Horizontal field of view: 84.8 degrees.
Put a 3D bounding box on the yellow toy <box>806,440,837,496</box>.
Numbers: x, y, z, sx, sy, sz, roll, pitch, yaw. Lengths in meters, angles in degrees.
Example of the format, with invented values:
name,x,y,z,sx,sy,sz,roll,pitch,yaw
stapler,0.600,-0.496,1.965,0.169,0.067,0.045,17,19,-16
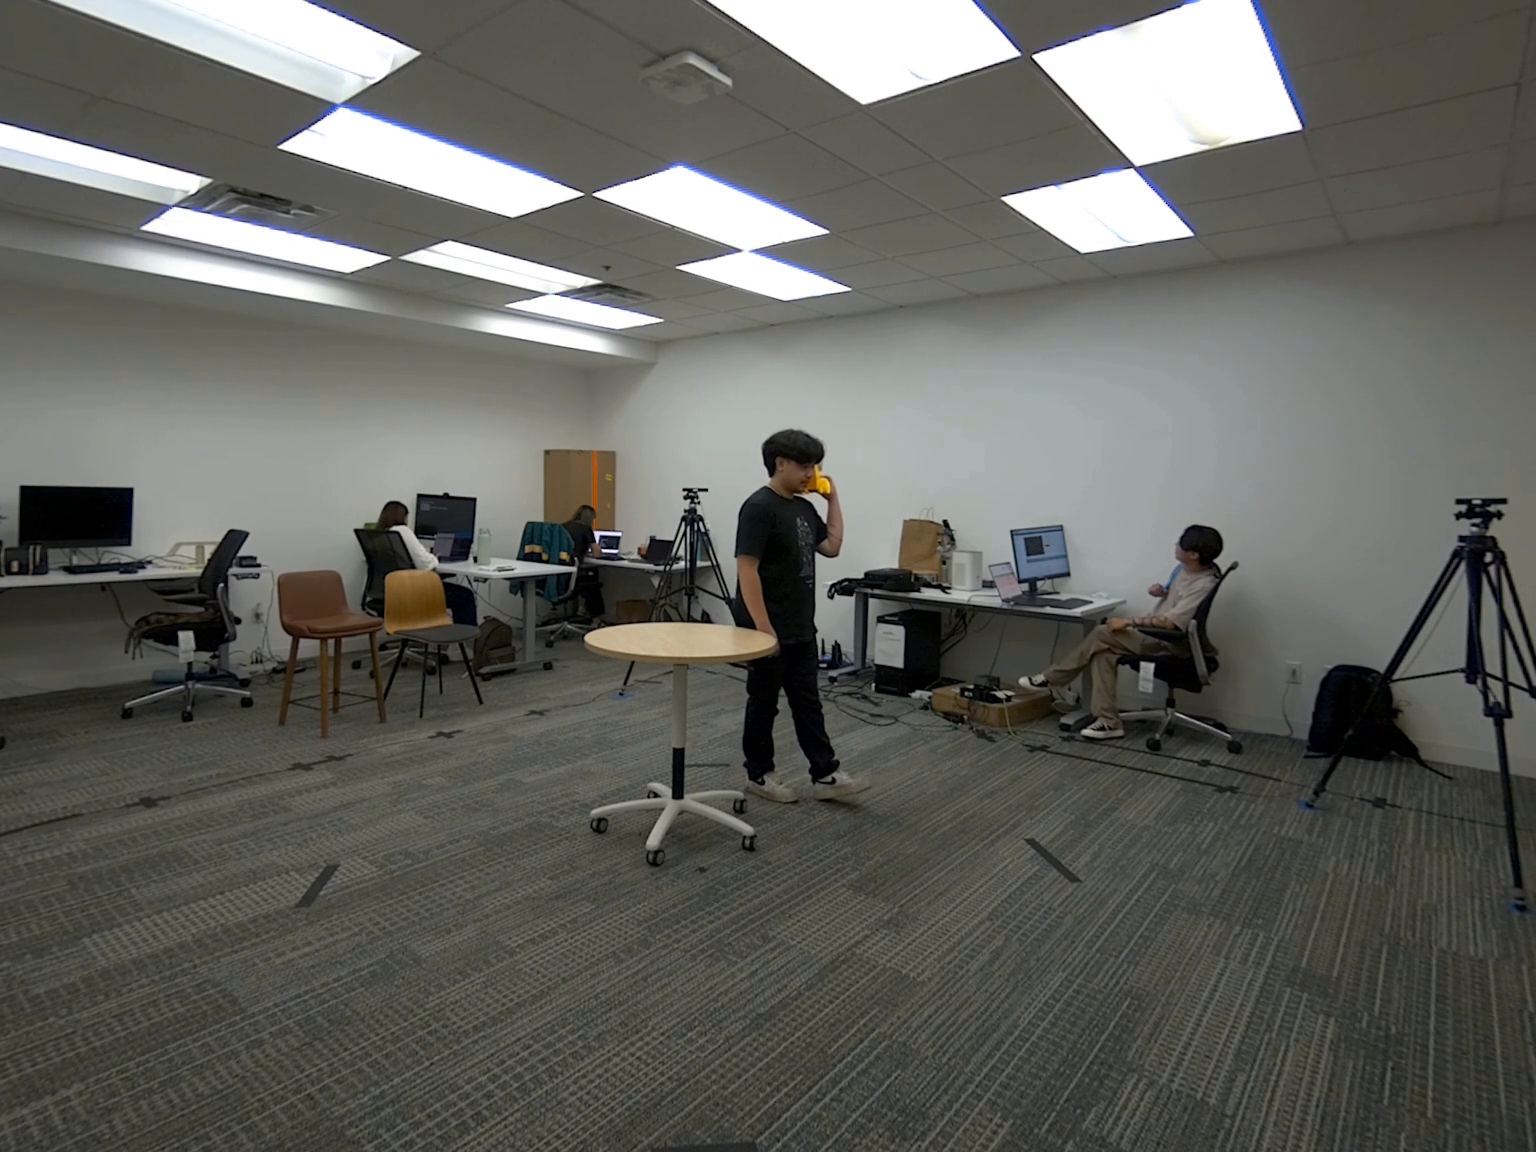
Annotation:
name,x,y,z,sx,sy,sz,roll,pitch,yaw
yellow toy,0.177,-0.510,3.931,0.201,0.227,0.199,-6,16,-22
